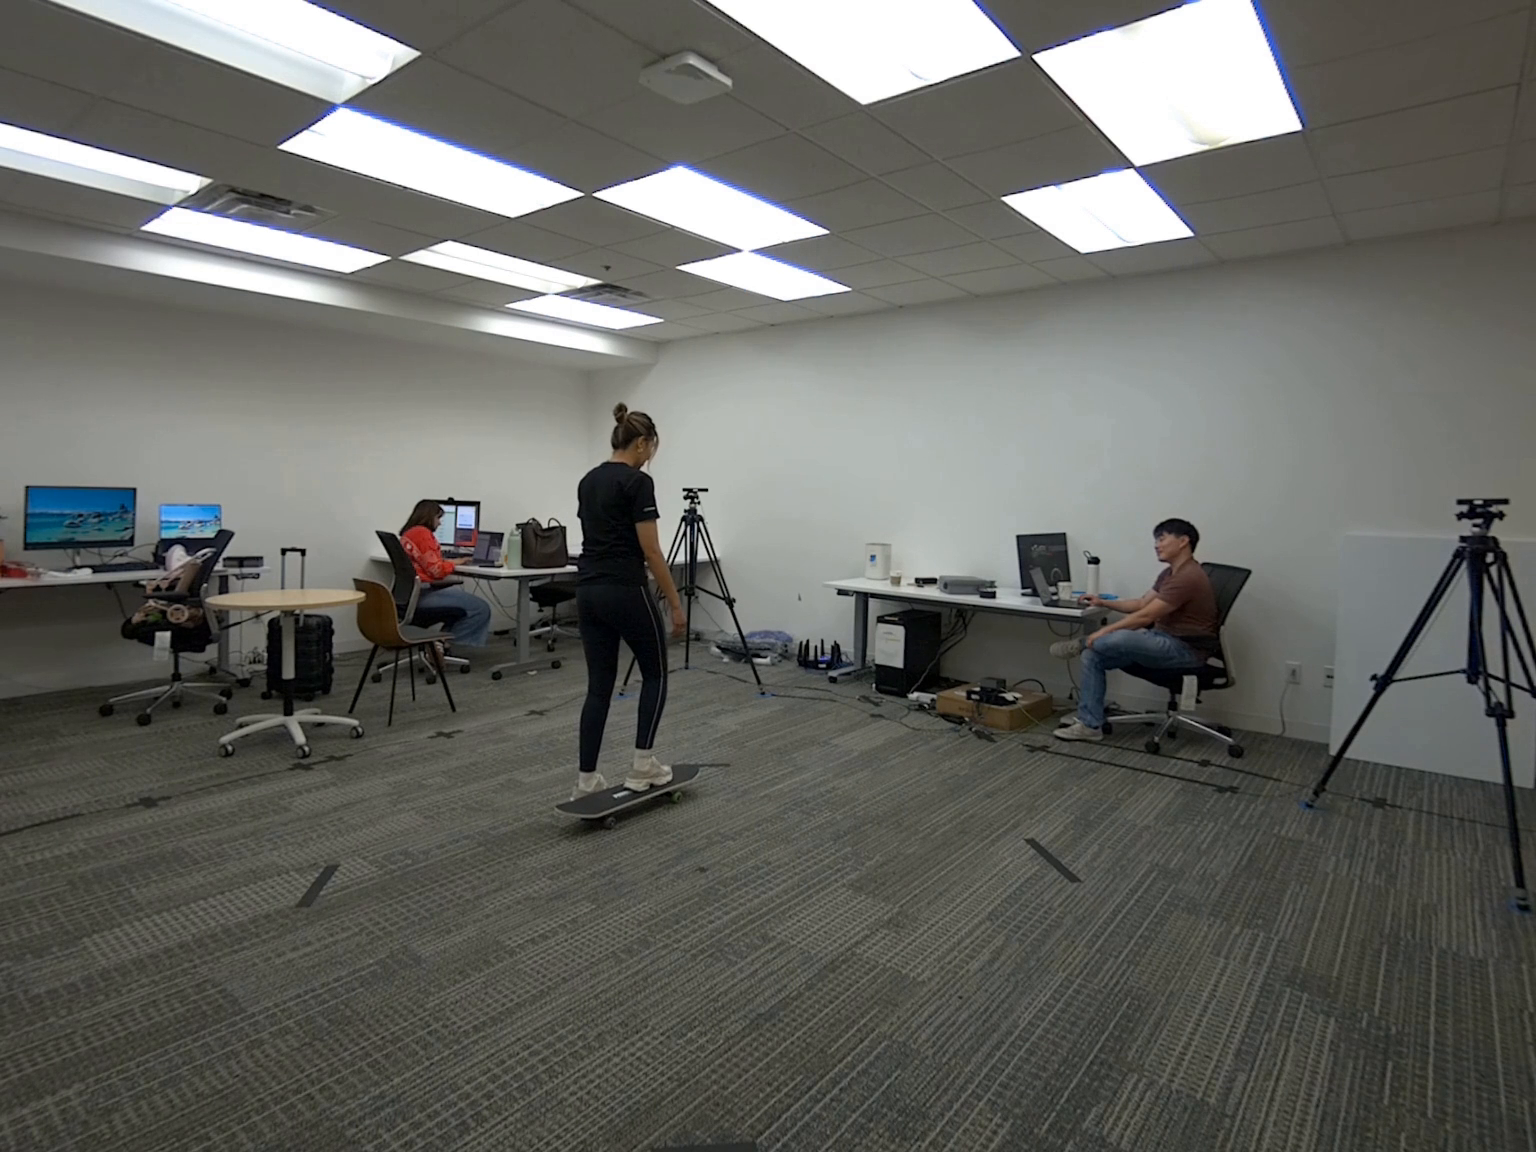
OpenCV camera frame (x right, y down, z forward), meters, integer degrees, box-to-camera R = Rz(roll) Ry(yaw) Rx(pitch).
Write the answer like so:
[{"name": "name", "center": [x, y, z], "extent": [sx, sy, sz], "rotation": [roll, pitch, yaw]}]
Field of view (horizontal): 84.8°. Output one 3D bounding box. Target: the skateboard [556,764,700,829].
[{"name": "skateboard", "center": [-0.600, 0.960, 3.665], "extent": [0.200, 0.110, 0.763], "rotation": [5, 7, 39]}]
